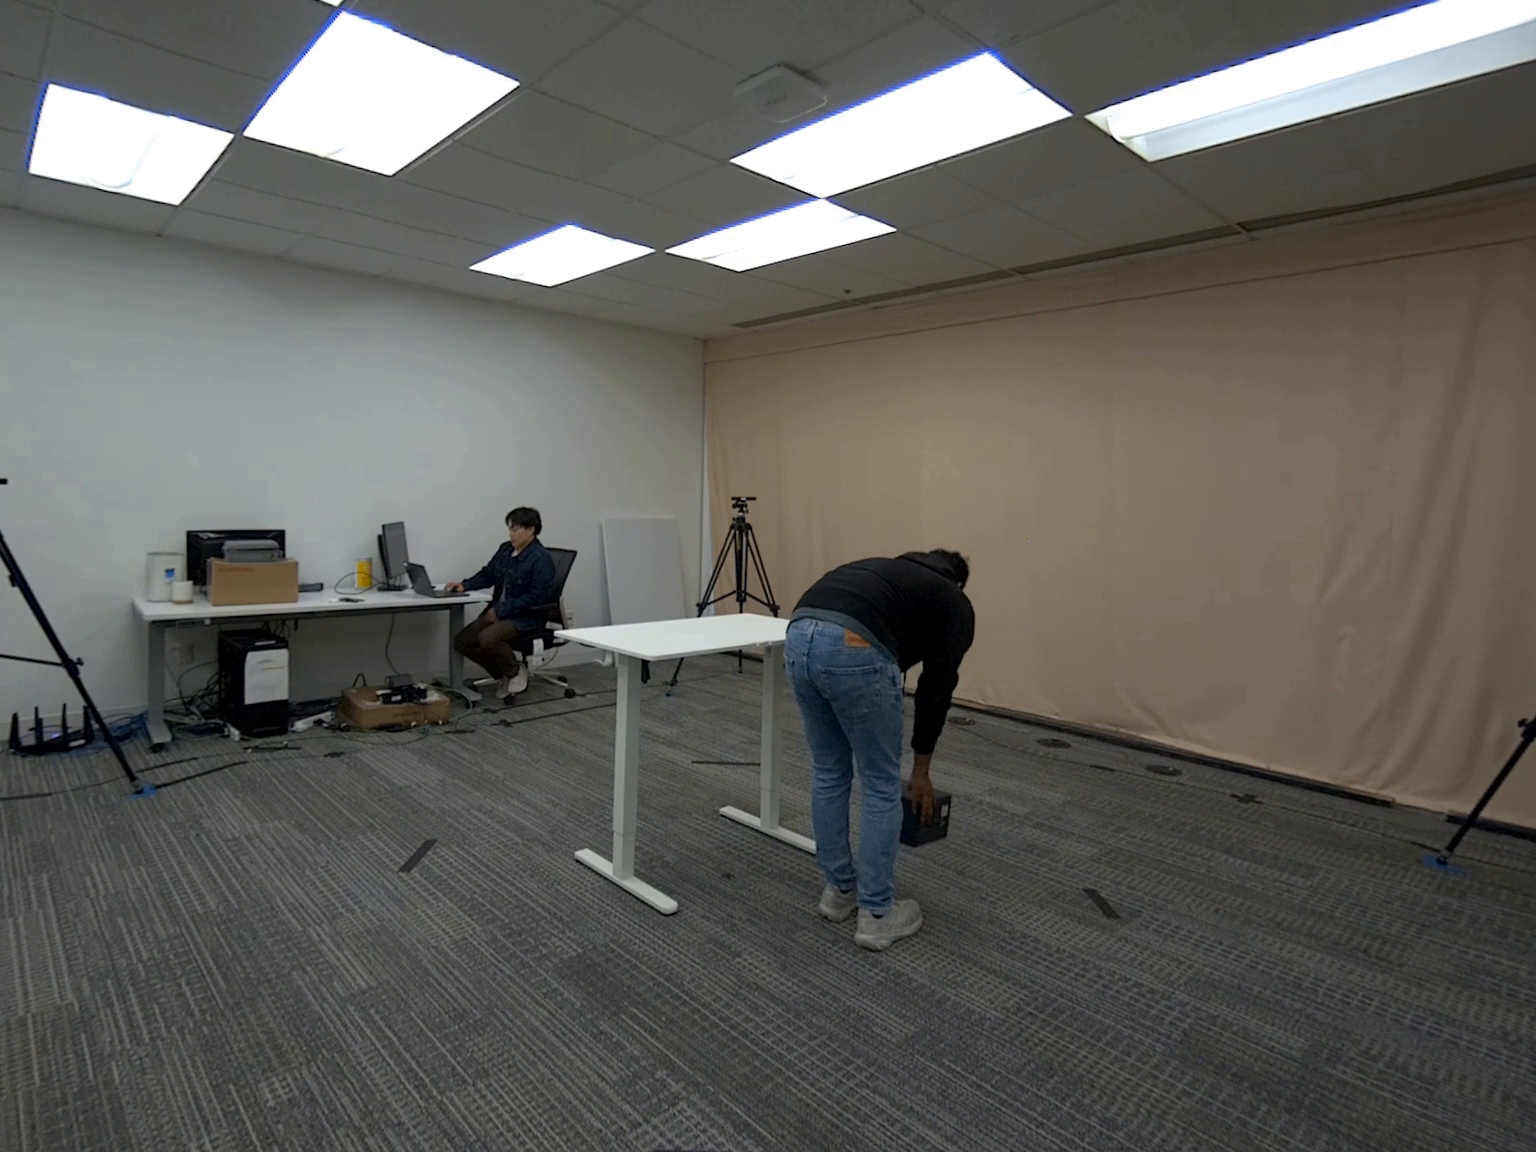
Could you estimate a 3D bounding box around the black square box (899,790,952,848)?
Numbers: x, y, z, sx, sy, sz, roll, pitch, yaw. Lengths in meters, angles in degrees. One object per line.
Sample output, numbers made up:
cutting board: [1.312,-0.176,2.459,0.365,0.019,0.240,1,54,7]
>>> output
black square box: [0.494,0.825,2.968,0.234,0.156,0.211,7,2,40]
